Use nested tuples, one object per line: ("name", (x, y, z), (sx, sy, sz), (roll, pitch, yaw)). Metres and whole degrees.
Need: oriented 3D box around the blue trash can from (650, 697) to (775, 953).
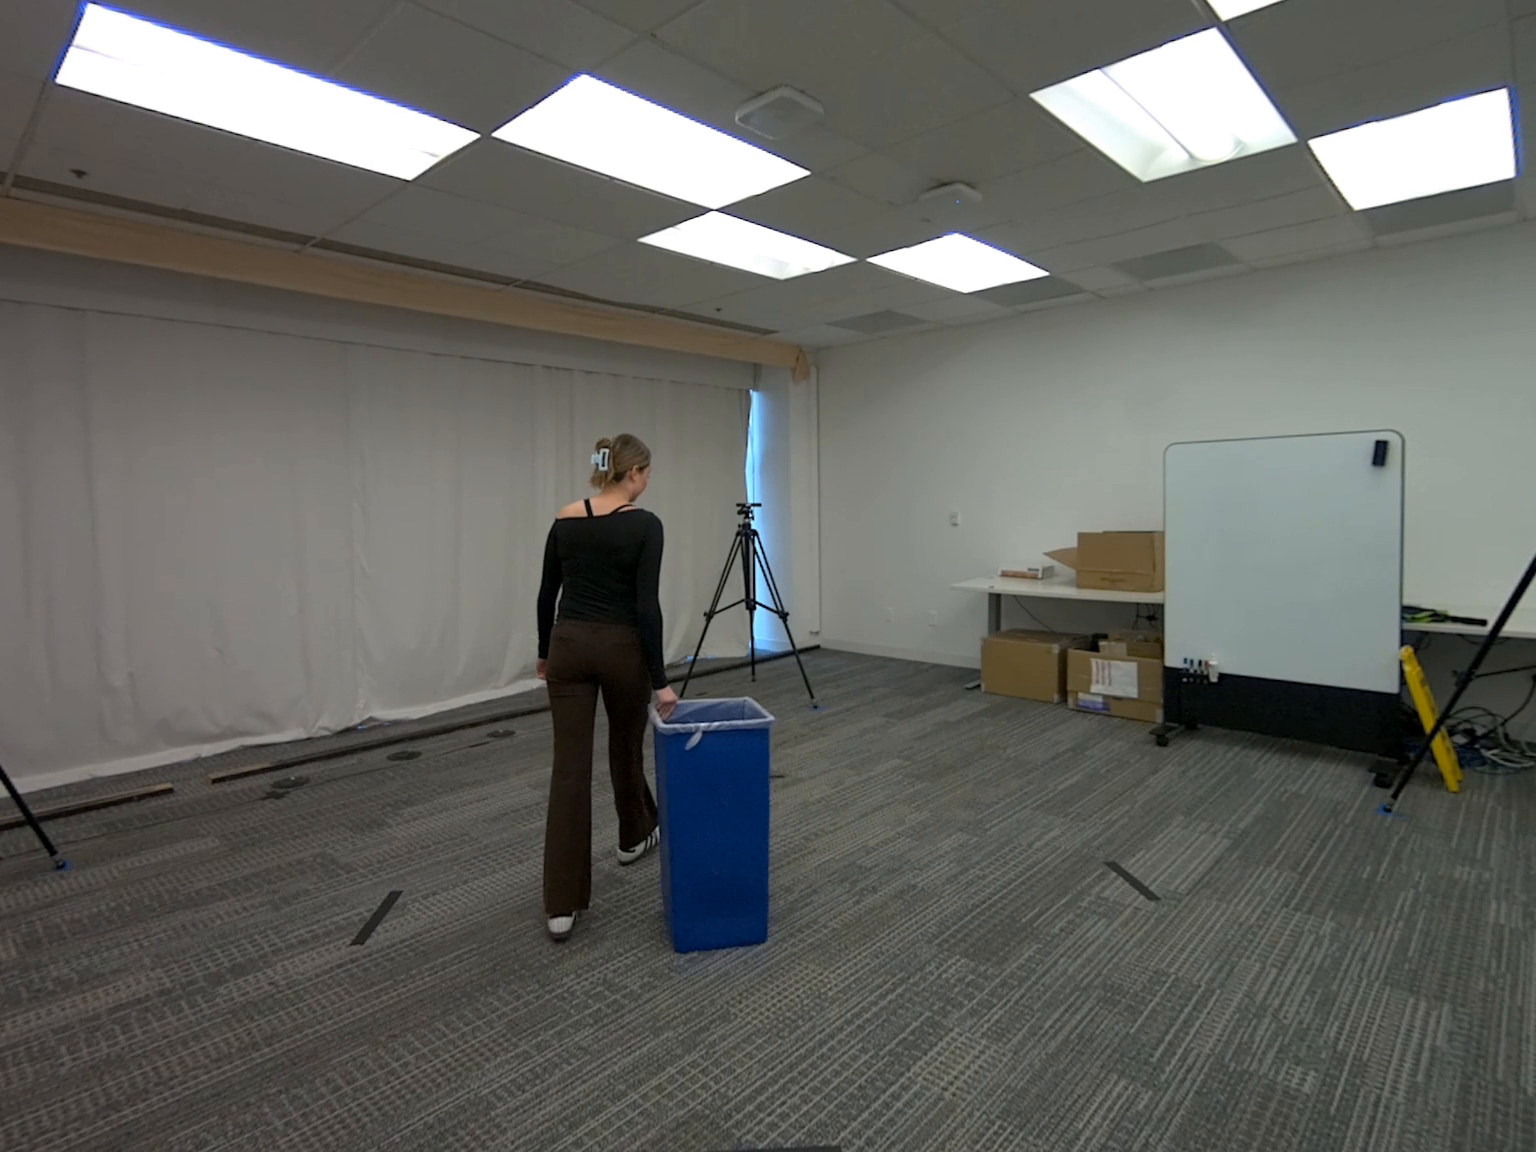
("blue trash can", (-0.190, 0.793, 2.784), (0.373, 0.713, 0.379), (-1, 2, -13))
